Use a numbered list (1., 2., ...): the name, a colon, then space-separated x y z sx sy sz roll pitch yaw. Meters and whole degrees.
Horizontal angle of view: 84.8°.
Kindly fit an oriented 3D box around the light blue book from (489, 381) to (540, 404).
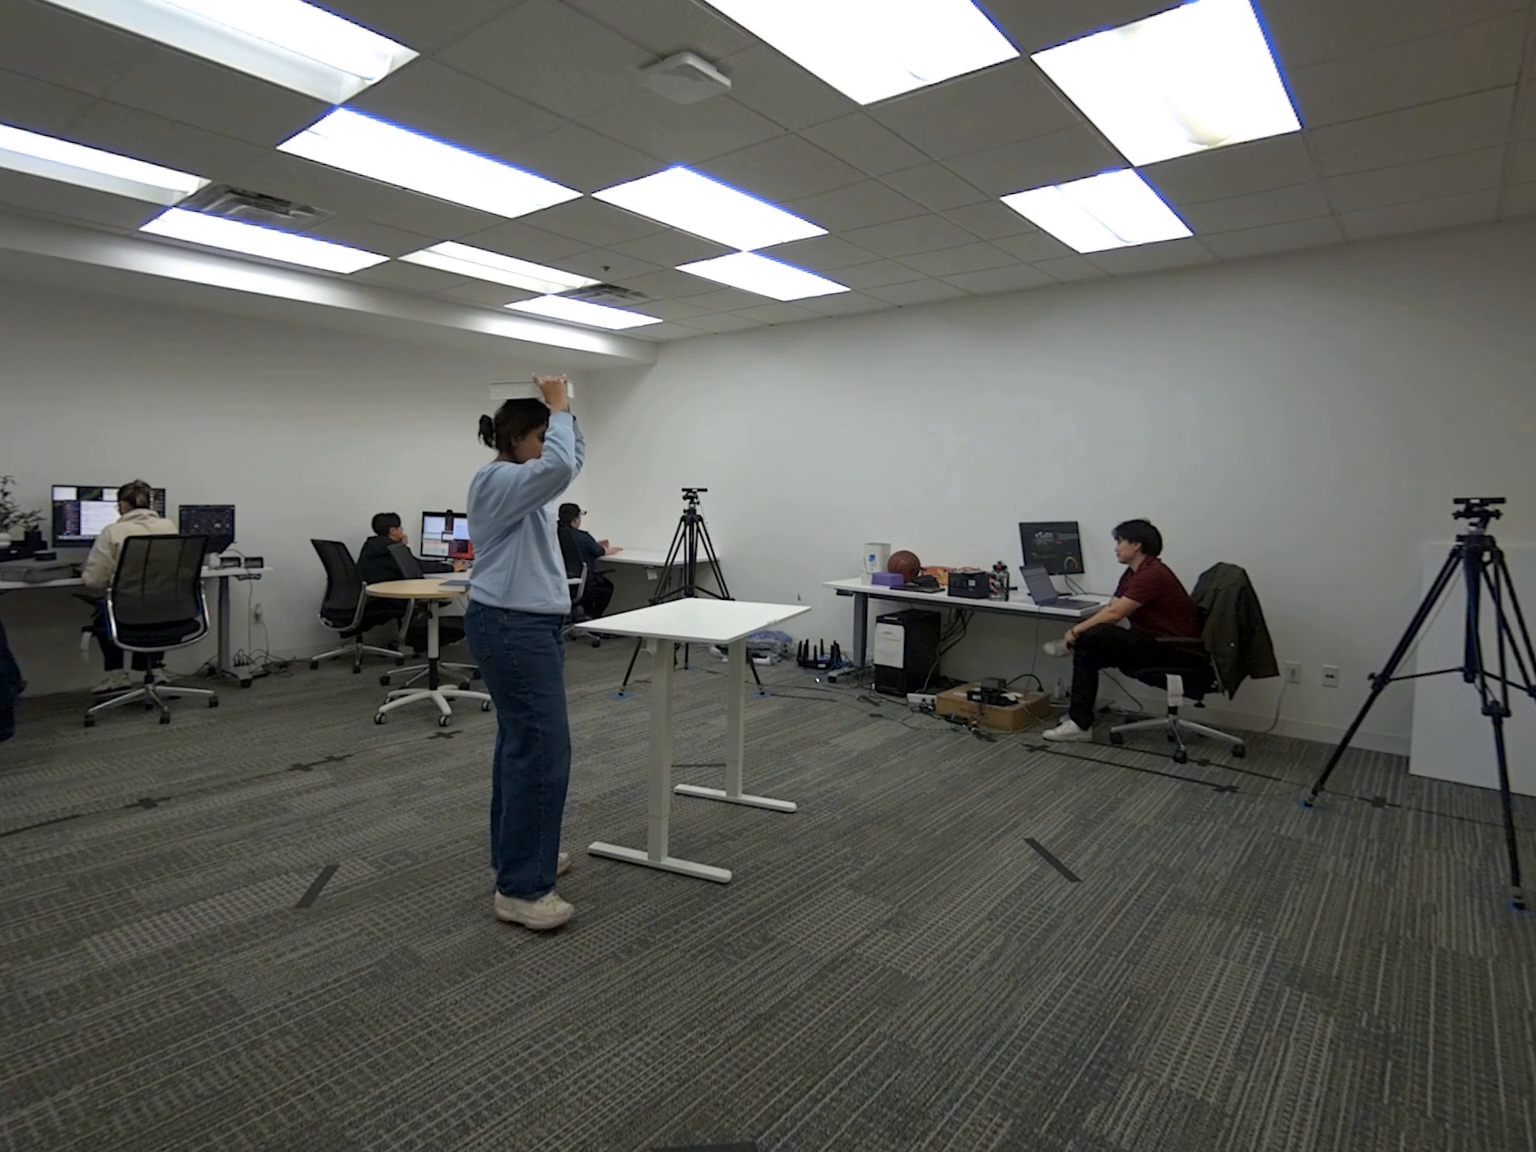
1. light blue book: -0.802 -0.631 2.879 0.258 0.058 0.195 -2 11 -12
